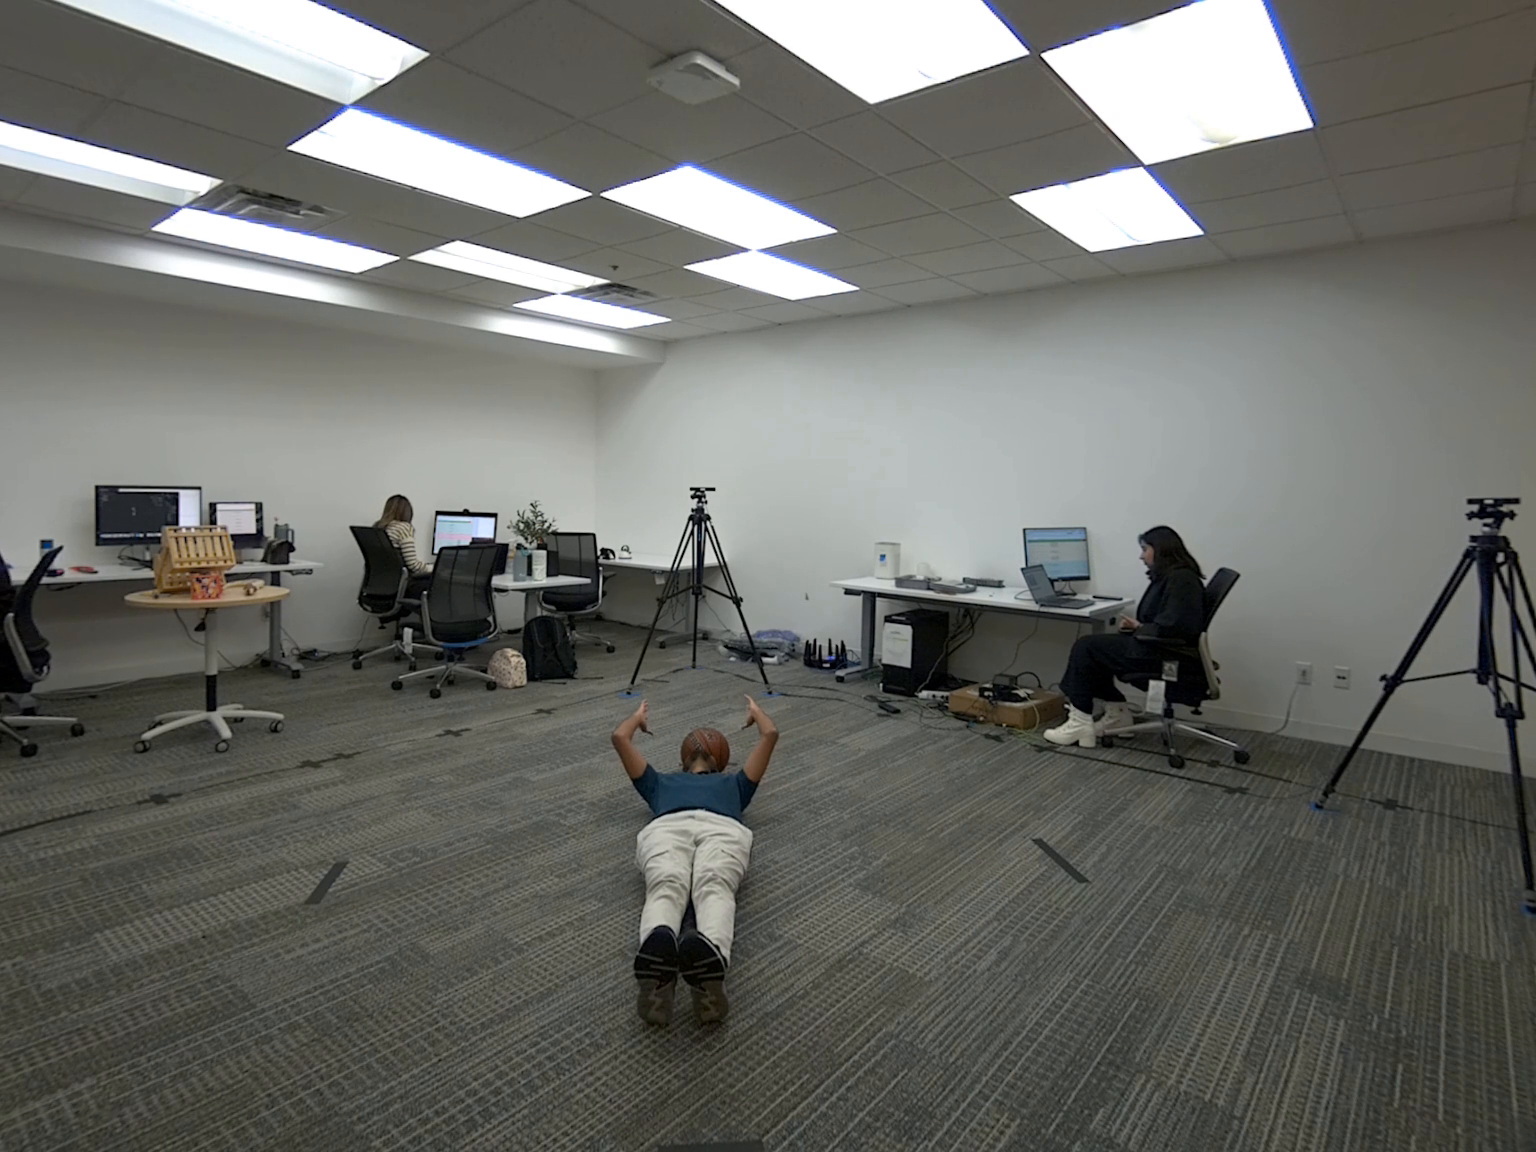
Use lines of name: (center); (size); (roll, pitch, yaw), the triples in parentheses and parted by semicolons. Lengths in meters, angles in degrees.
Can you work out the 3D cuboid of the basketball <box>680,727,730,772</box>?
basketball: (-0.316, 0.843, 4.104); (0.235, 0.235, 0.237); (1, 4, -2)
